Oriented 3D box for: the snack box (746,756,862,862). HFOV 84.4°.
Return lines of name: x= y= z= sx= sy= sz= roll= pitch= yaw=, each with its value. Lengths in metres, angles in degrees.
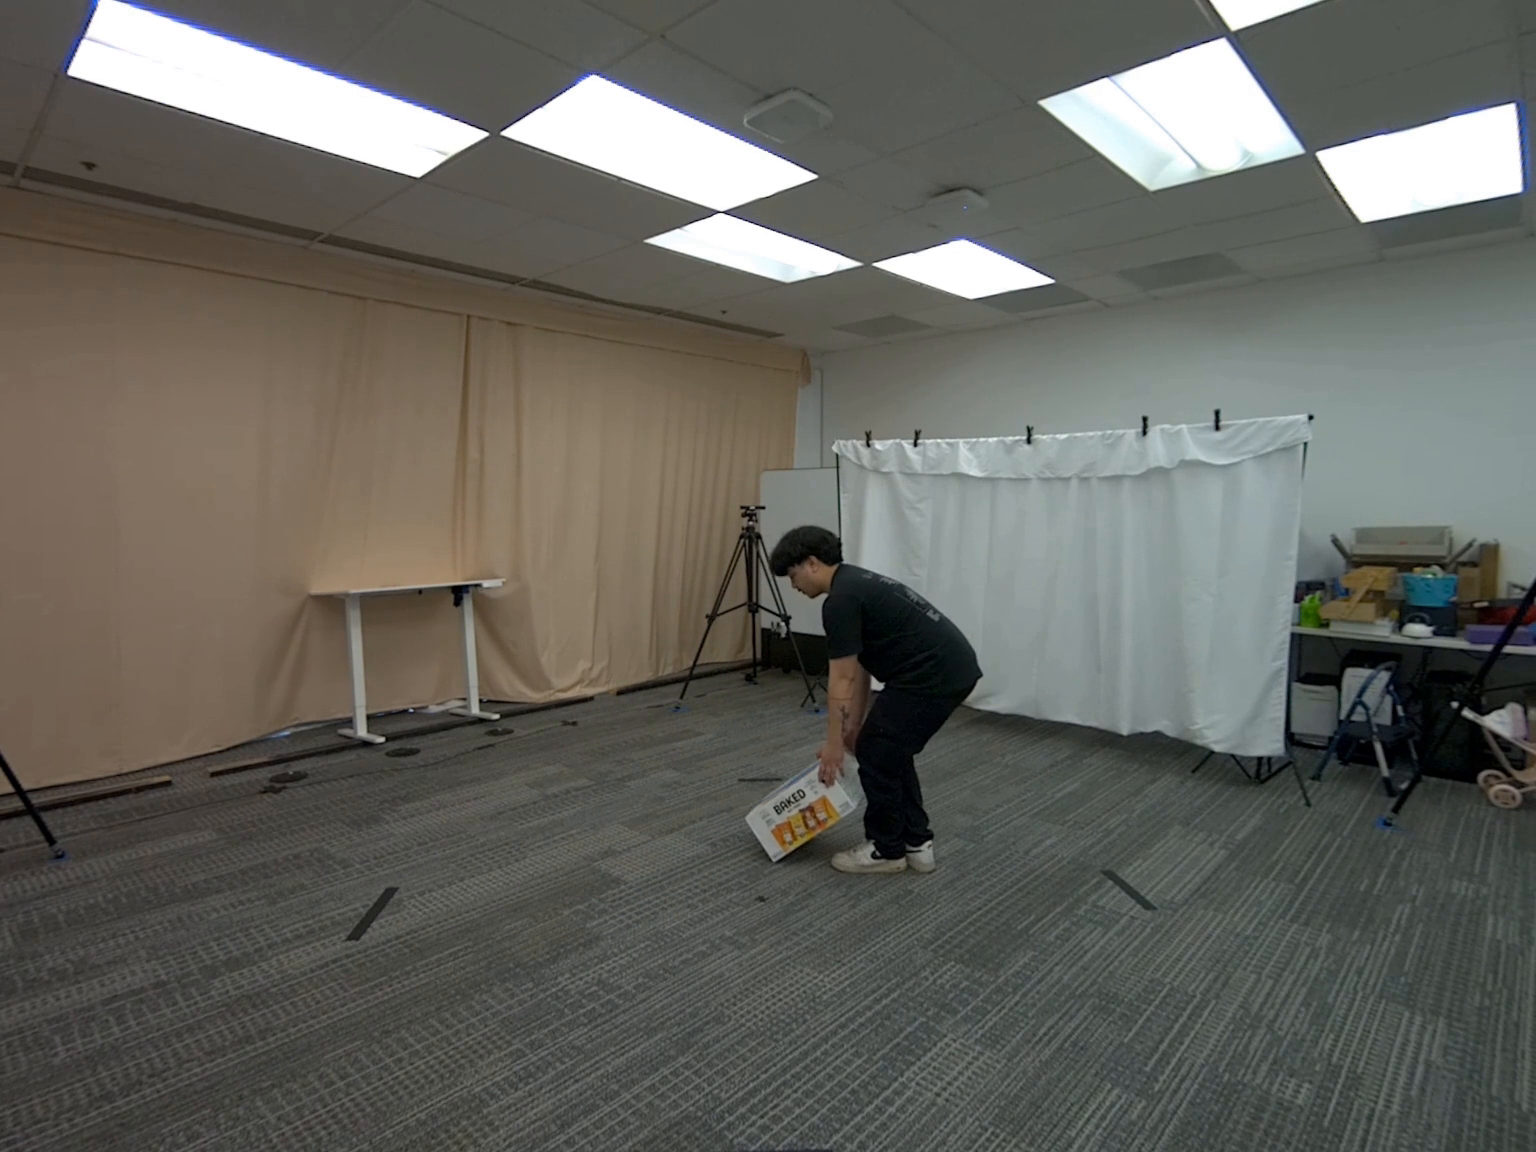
snack box: x=0.172 y=0.907 z=3.393 sx=0.408 sy=0.208 sz=0.334 roll=-38 pitch=-8 yaw=17
